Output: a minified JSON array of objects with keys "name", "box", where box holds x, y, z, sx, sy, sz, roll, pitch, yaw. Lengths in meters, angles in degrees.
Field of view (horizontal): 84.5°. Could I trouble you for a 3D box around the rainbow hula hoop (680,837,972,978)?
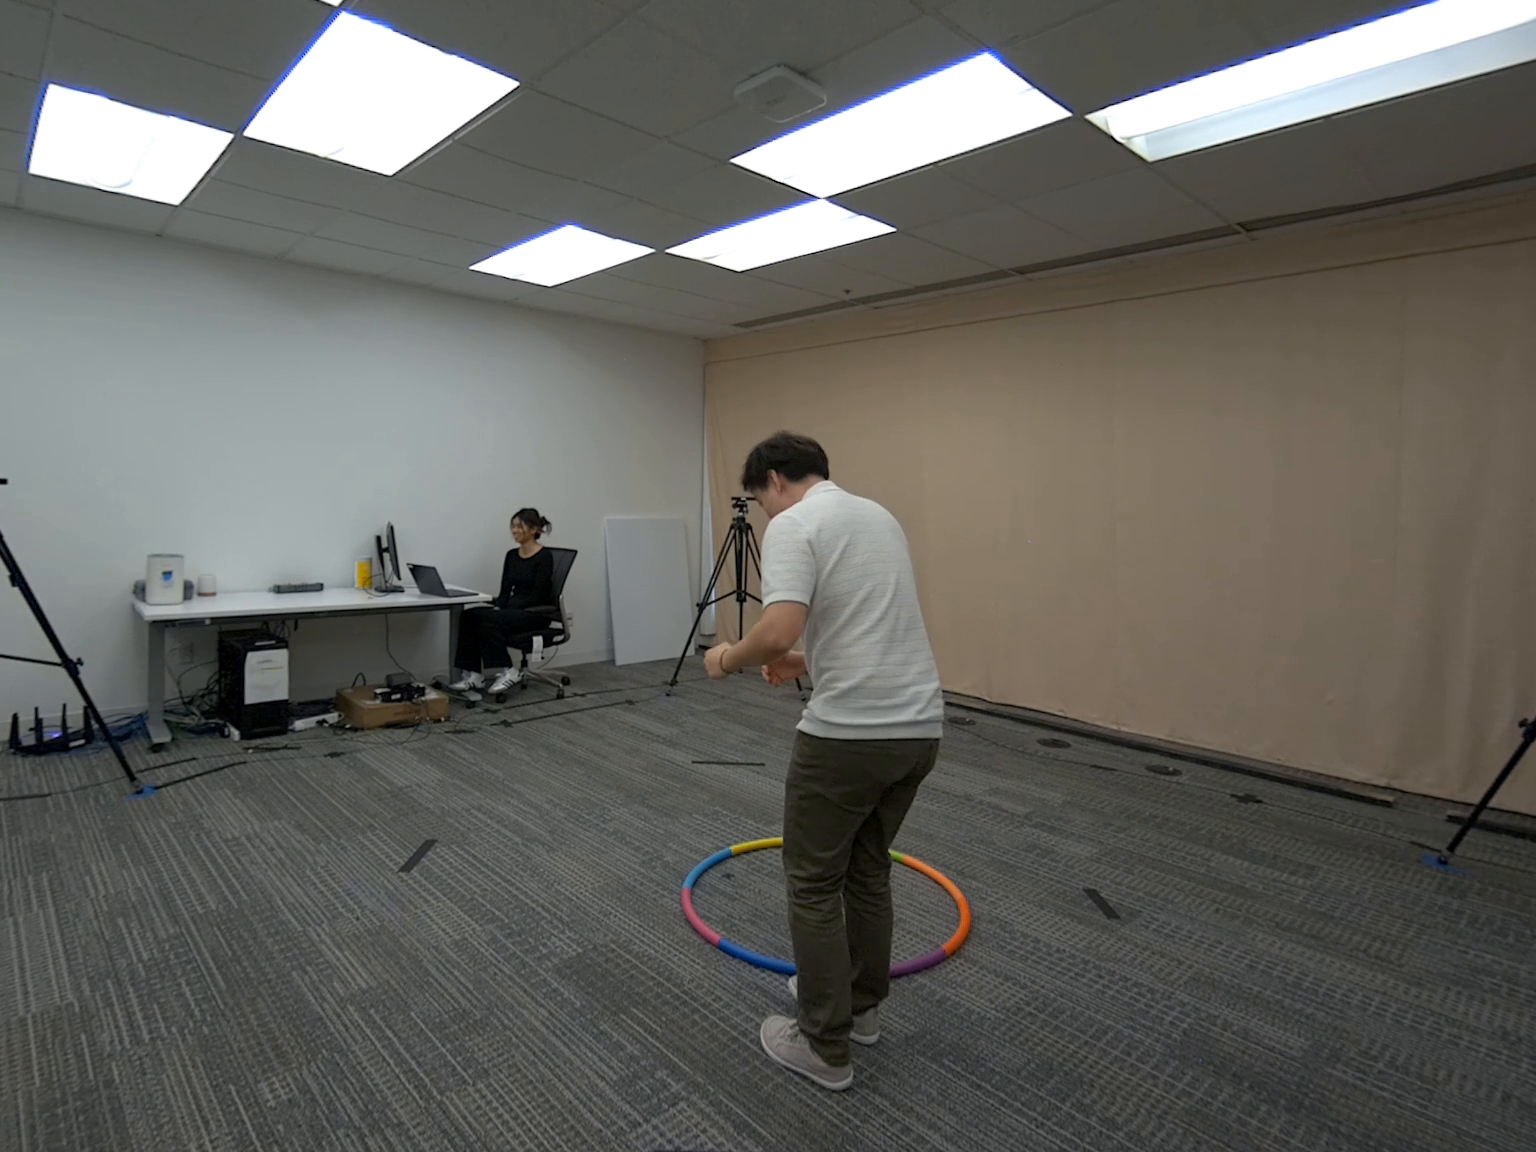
[{"name":"rainbow hula hoop","box":[0.183,1.102,2.922,0.978,0.035,0.982,1,6,-1]}]
